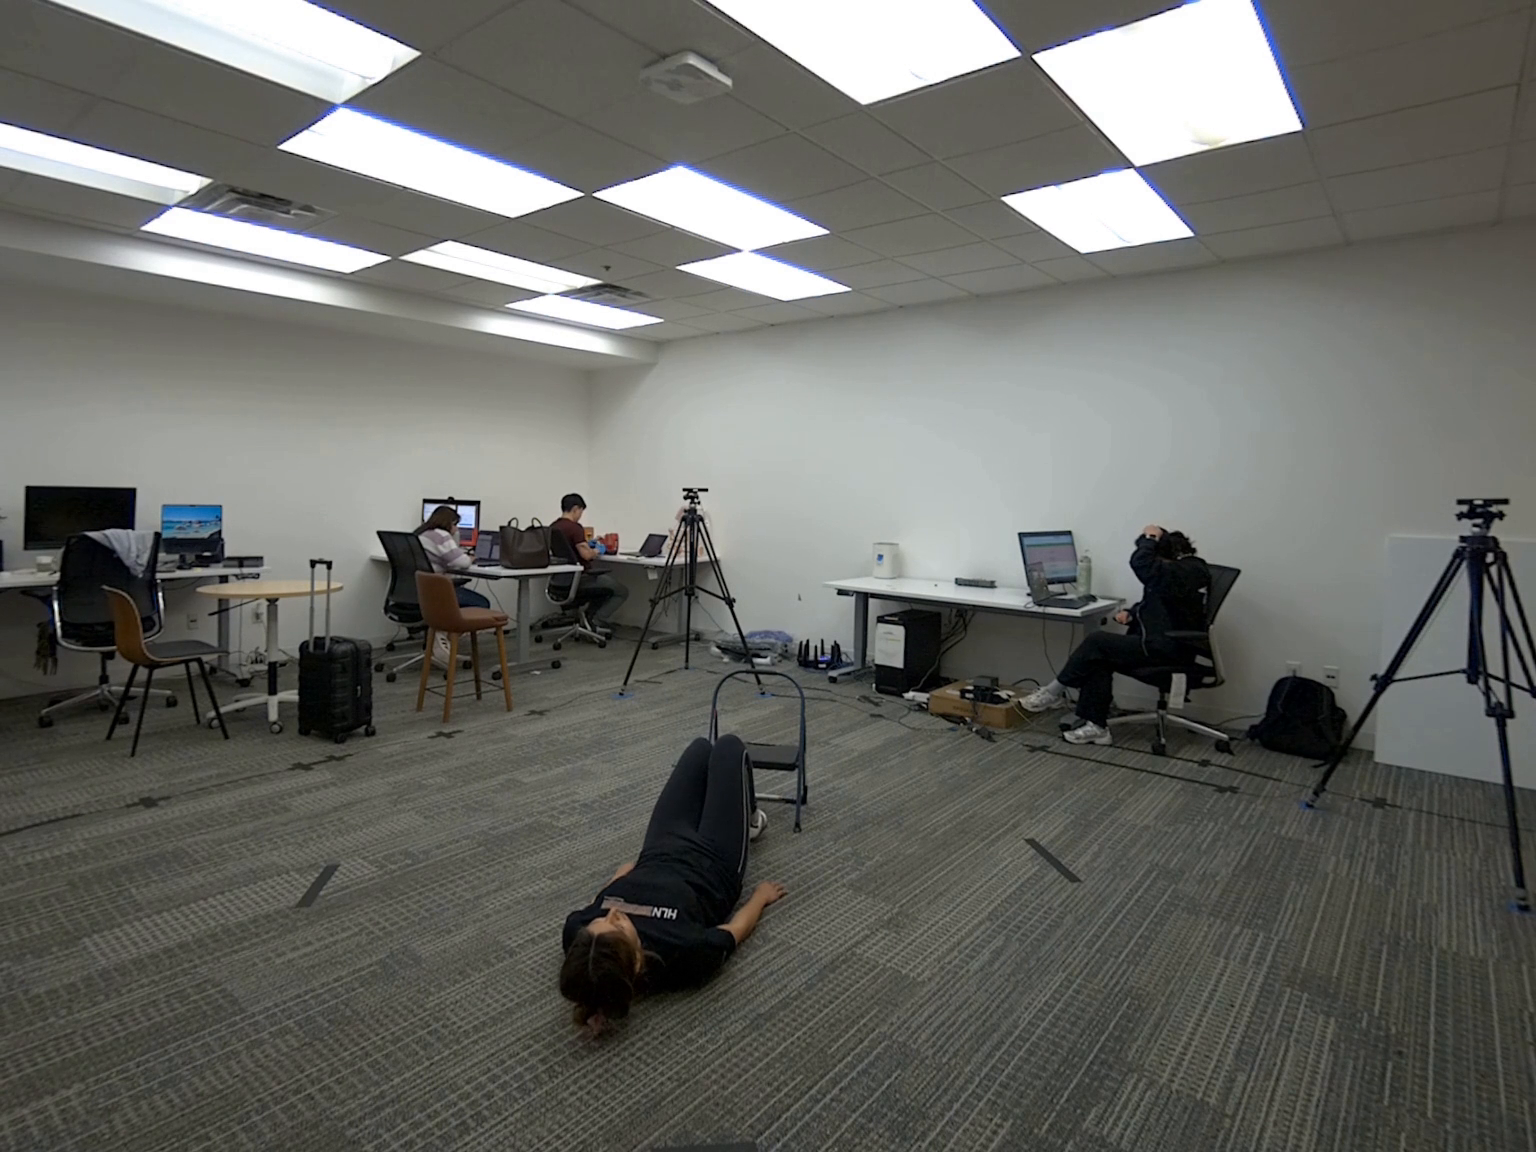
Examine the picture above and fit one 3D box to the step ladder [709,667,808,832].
[{"bbox_3d":[-0.052,0.716,3.662,0.436,0.604,0.346,2,3,10],"label":"step ladder"}]
